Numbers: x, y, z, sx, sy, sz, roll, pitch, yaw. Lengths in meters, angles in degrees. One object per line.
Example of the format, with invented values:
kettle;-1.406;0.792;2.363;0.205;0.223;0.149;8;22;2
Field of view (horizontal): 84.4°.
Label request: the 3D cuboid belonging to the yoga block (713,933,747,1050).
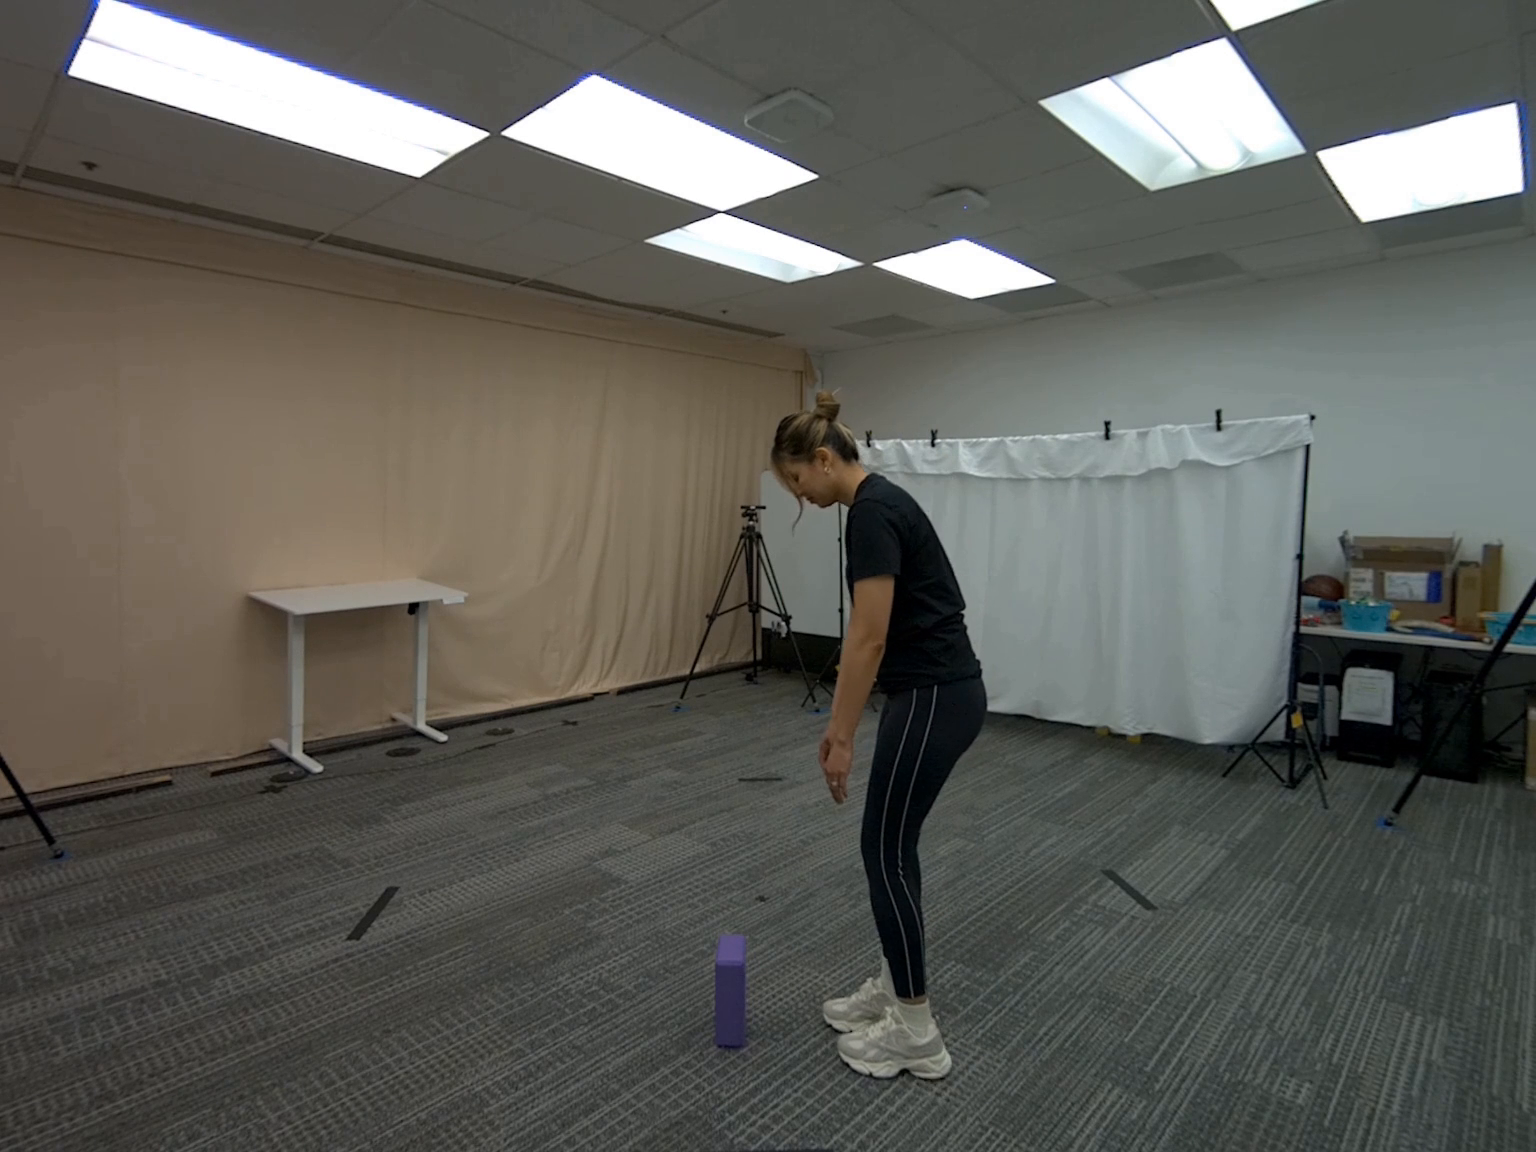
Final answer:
yoga block;-0.097;1.096;2.220;0.076;0.229;0.149;-1;3;1
